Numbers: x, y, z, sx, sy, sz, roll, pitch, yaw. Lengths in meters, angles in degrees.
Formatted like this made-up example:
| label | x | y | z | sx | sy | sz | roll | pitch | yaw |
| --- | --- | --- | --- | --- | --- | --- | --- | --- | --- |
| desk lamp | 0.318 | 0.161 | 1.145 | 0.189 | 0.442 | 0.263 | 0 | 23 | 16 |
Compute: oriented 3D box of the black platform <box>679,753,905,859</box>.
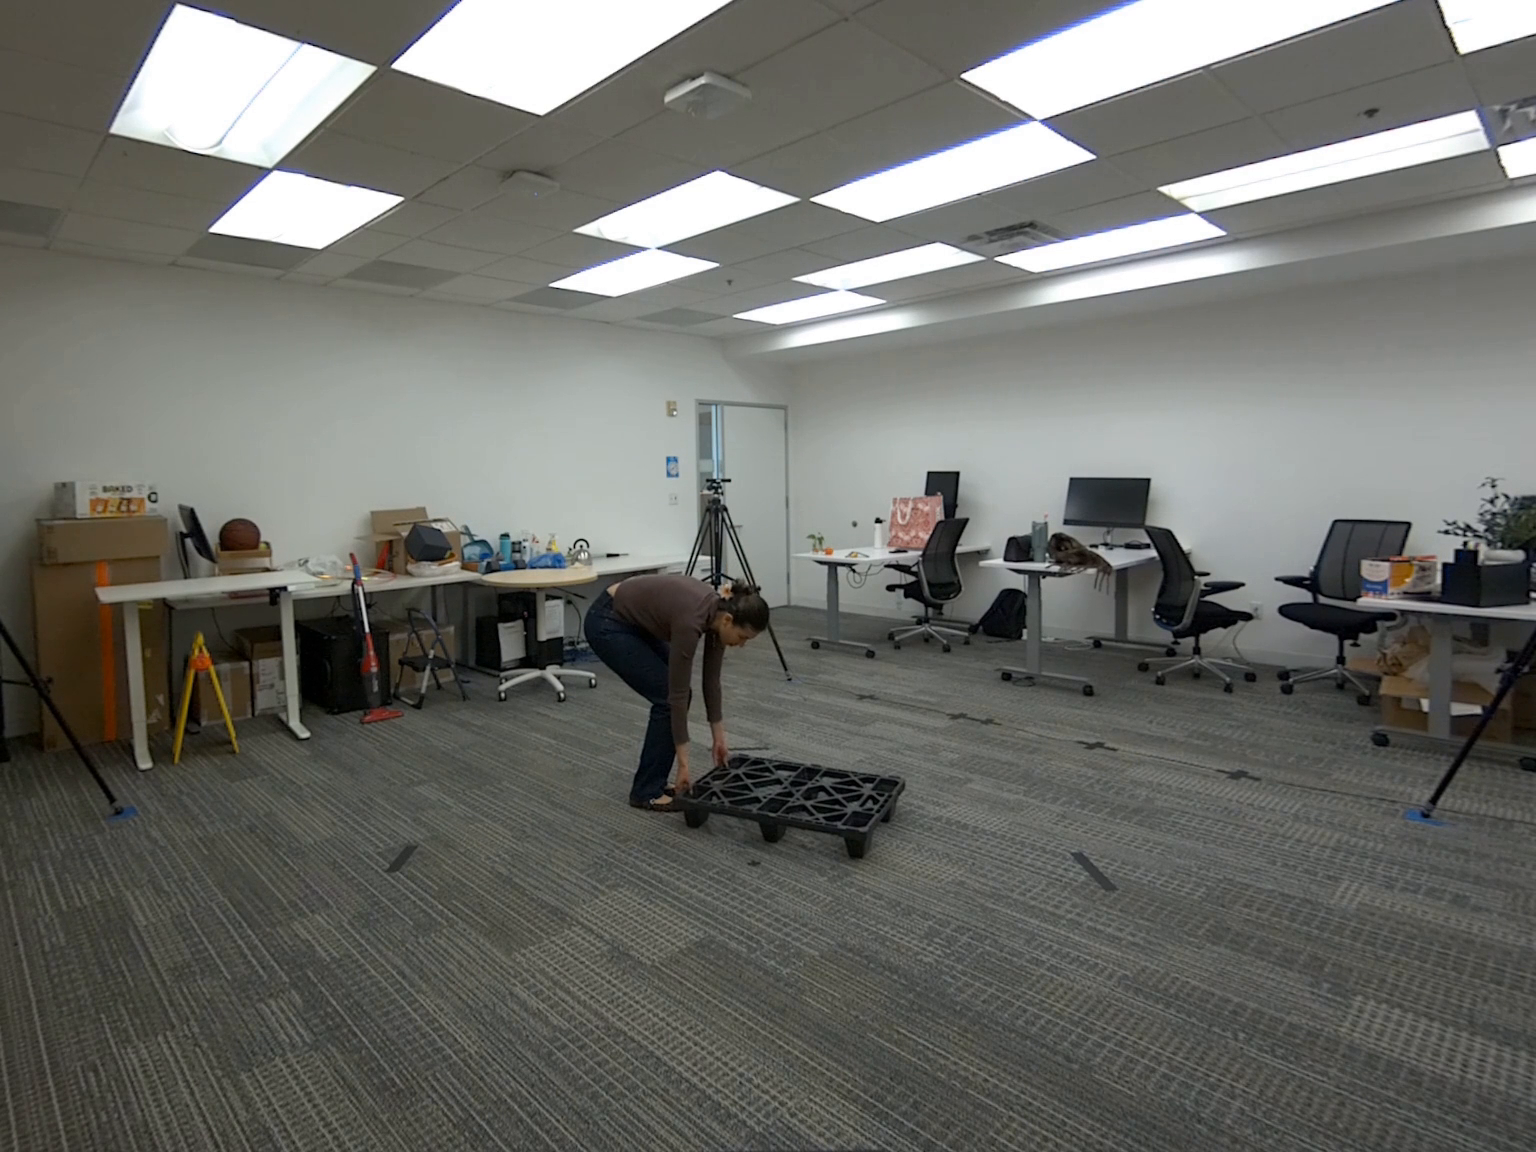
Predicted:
| label | x | y | z | sx | sy | sz | roll | pitch | yaw |
| --- | --- | --- | --- | --- | --- | --- | --- | --- | --- |
| black platform | 0.099 | 0.927 | 3.490 | 0.824 | 0.143 | 0.593 | 3 | 6 | 25 |
